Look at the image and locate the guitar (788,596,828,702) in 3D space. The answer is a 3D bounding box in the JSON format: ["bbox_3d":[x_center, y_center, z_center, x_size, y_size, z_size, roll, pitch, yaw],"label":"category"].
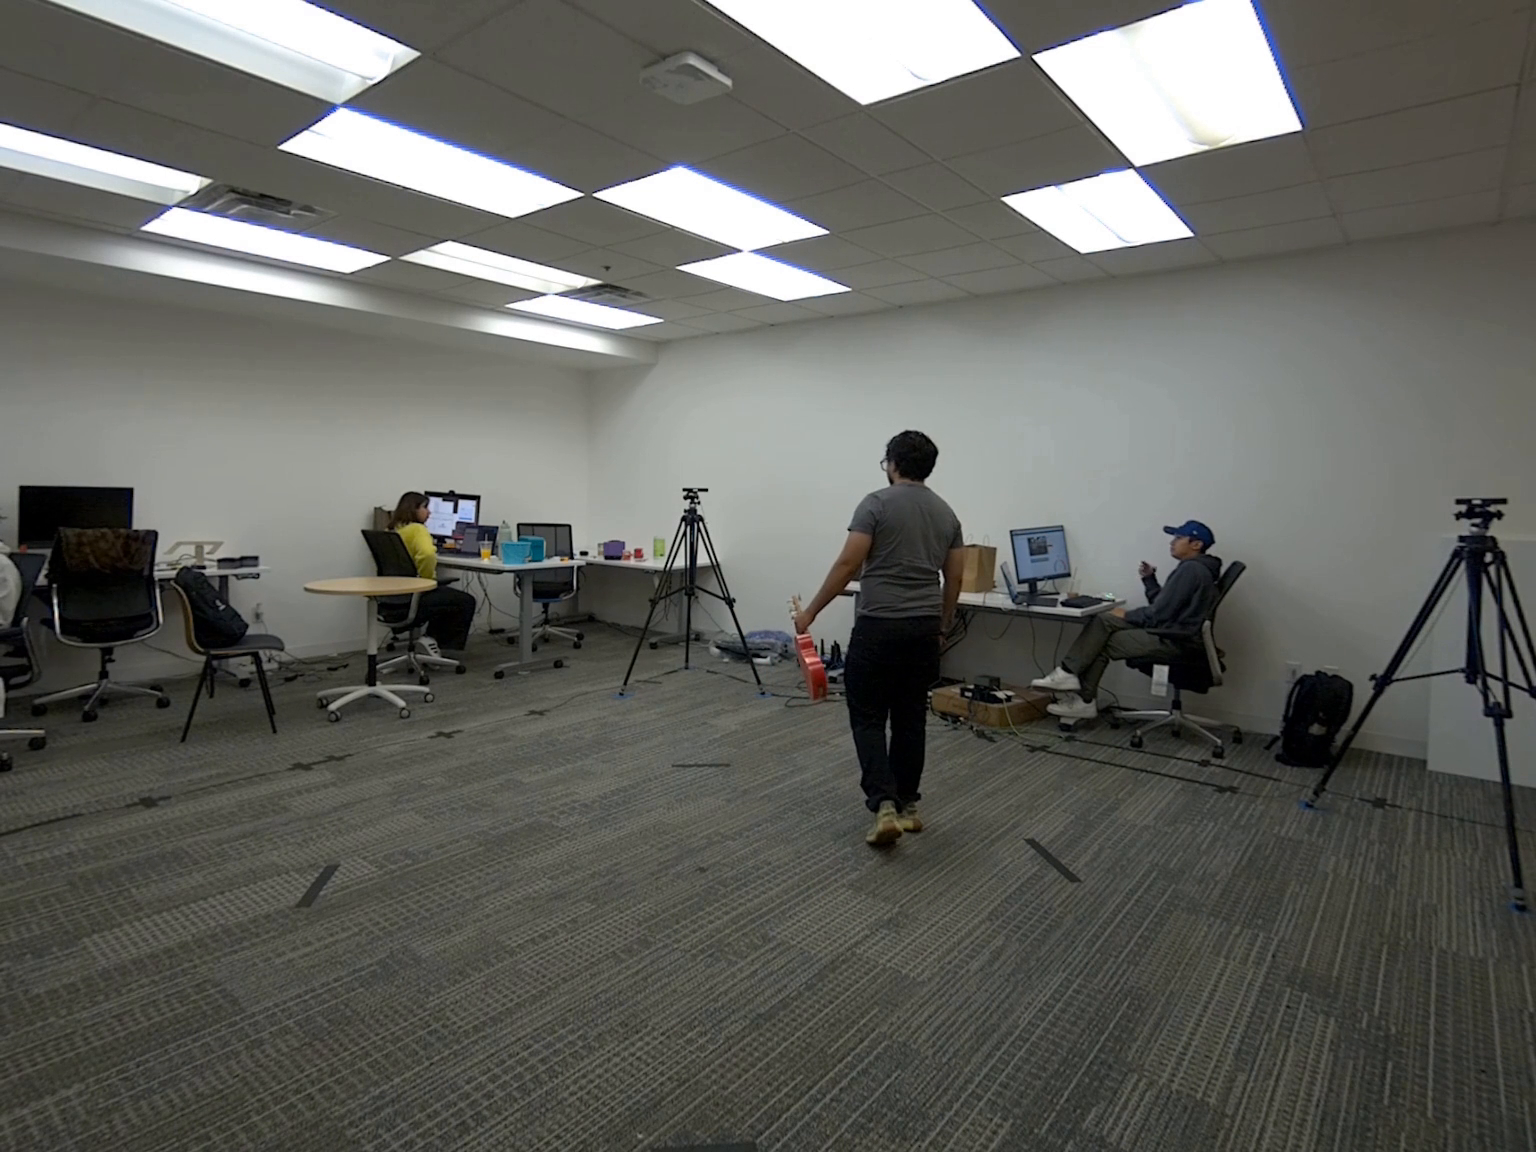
[{"bbox_3d":[0.154,0.299,3.527,0.070,0.187,0.516,-11,38,-6],"label":"guitar"}]
